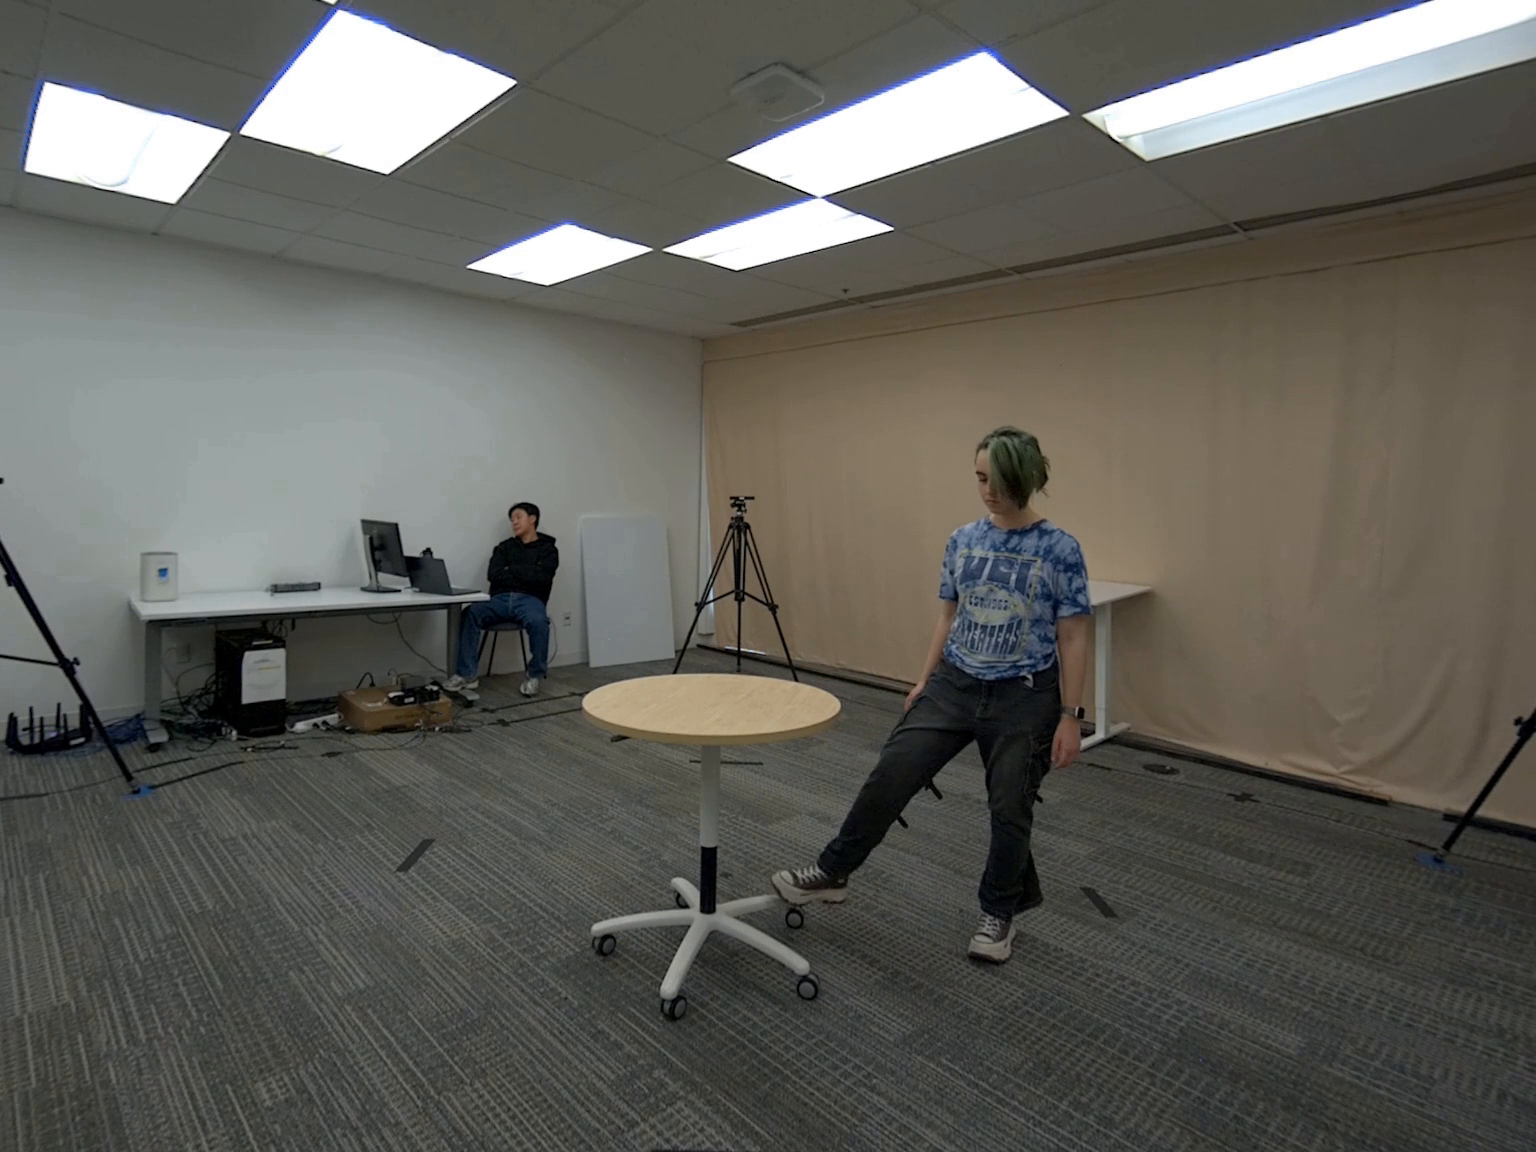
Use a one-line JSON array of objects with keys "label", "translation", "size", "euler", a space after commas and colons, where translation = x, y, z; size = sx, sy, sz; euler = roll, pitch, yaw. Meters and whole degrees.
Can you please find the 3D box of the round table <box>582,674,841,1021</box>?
[{"label": "round table", "translation": [-0.177, 0.762, 2.542], "size": [0.763, 0.792, 0.766], "euler": [1, 4, -1]}]
